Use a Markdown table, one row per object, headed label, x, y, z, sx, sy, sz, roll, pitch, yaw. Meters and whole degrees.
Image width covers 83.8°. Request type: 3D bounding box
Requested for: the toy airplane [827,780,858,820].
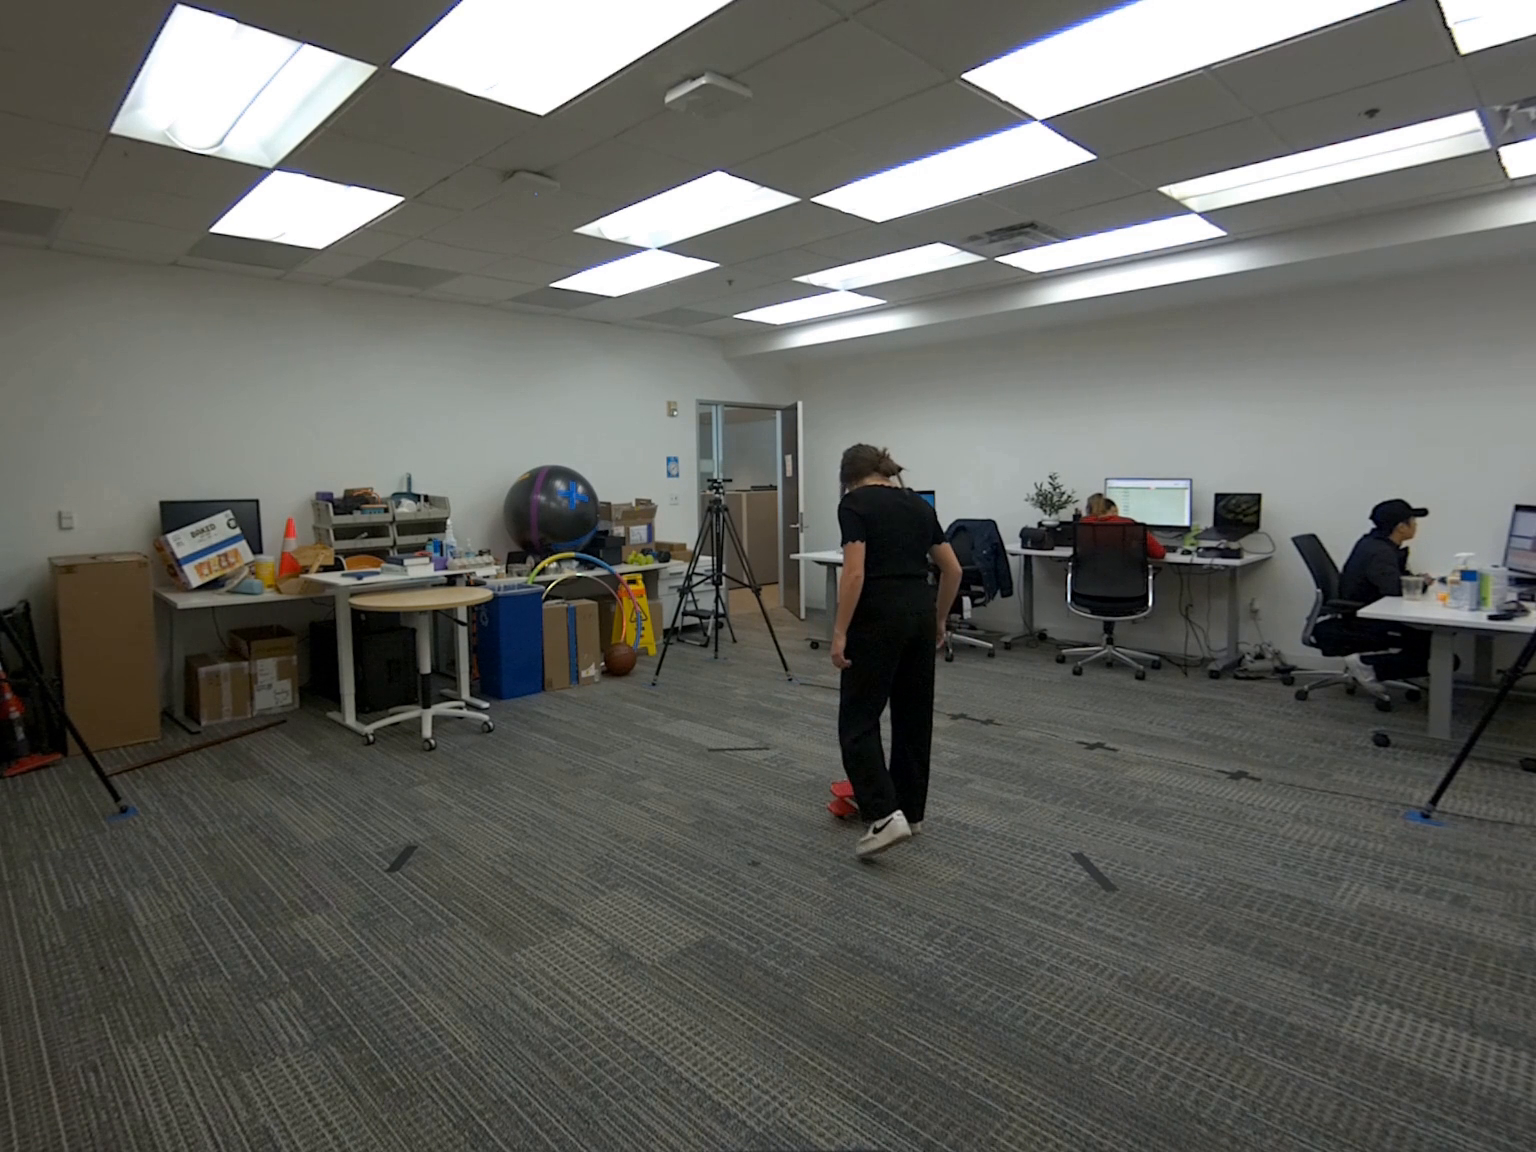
| label | x | y | z | sx | sy | sz | roll | pitch | yaw |
| --- | --- | --- | --- | --- | --- | --- | --- | --- | --- |
| toy airplane | 0.396 | 0.919 | 3.485 | 0.265 | 0.156 | 0.246 | 0 | 5 | 24 |
